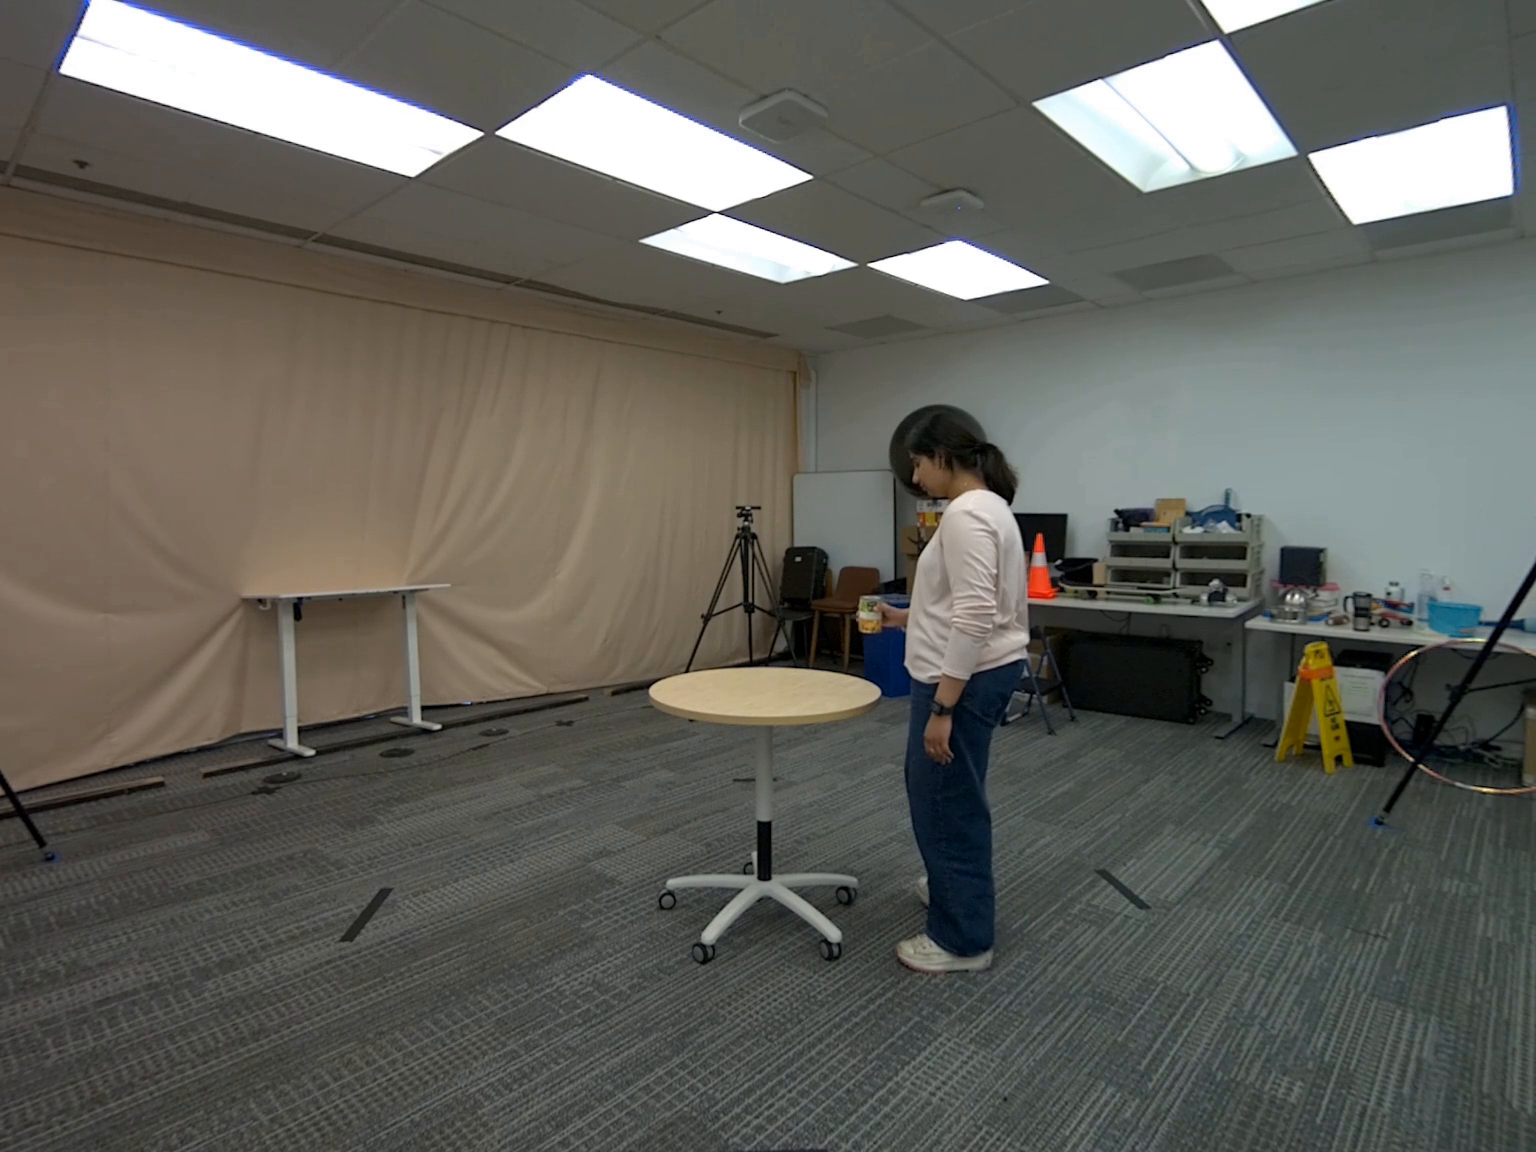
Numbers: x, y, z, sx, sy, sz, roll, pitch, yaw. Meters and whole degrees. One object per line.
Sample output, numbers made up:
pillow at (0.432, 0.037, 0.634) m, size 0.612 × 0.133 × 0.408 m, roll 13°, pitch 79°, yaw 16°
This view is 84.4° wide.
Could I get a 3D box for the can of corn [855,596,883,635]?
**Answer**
can of corn at (0.349, 0.130, 2.785) m, size 0.074 × 0.111 × 0.074 m, roll 1°, pitch 5°, yaw -2°
